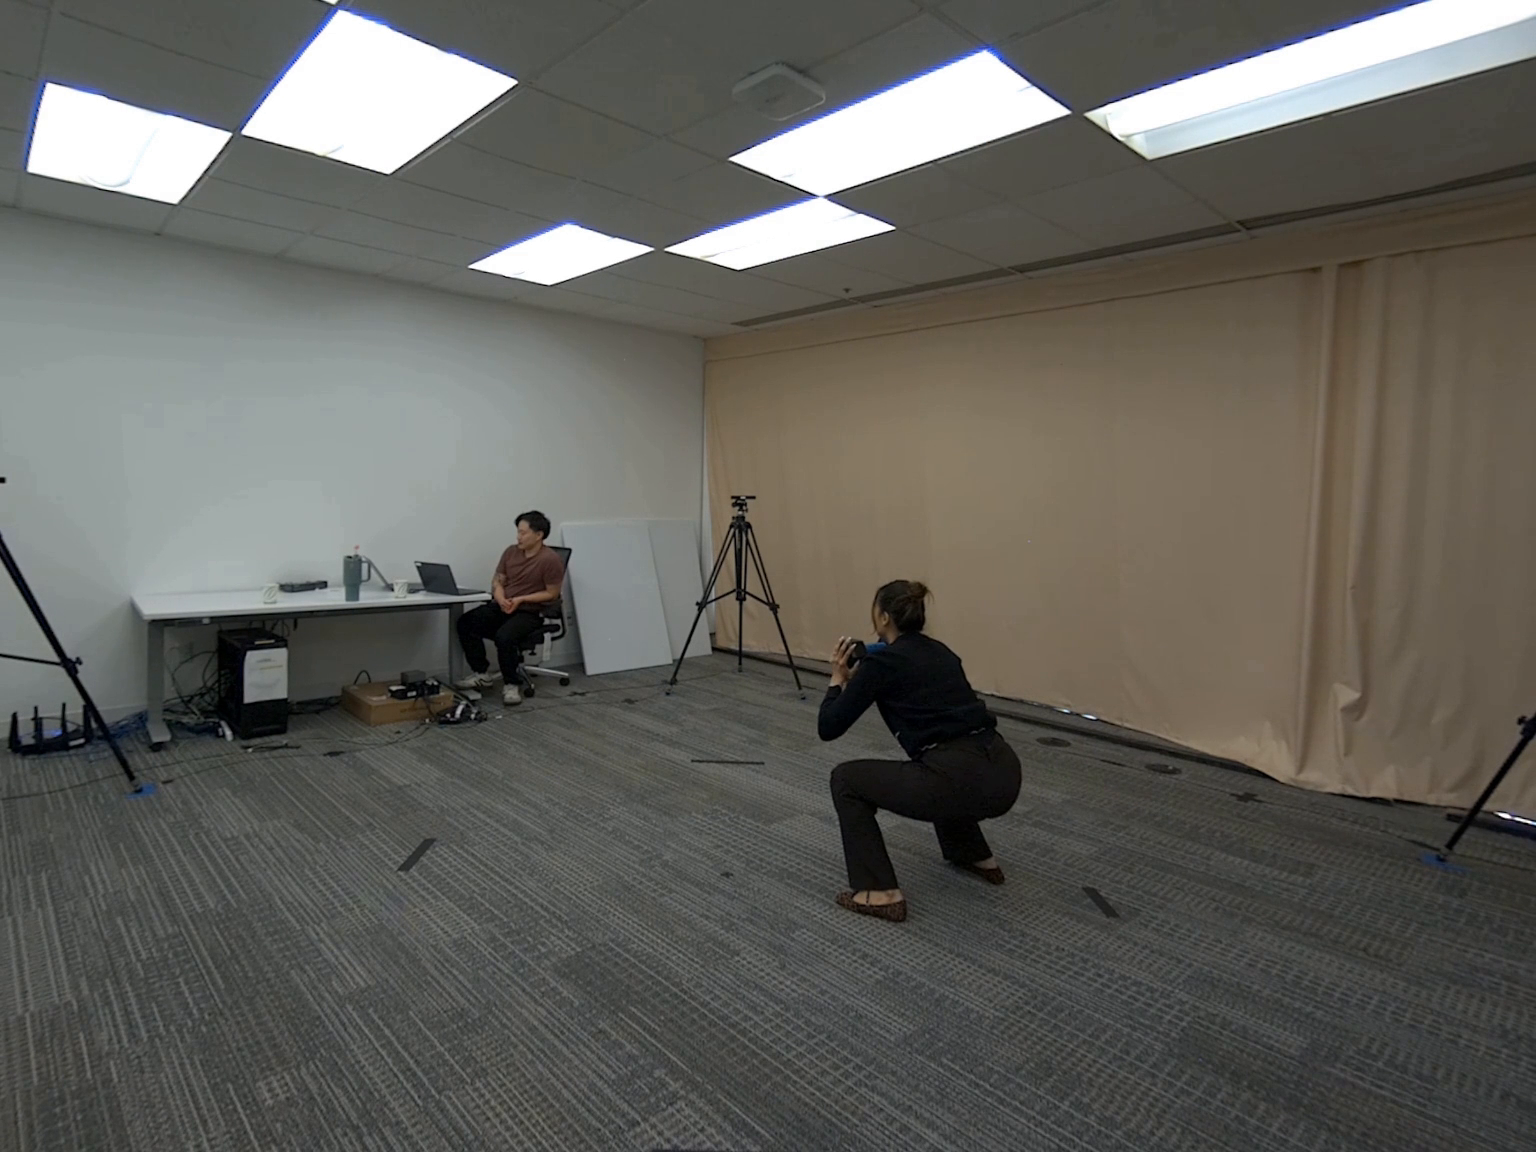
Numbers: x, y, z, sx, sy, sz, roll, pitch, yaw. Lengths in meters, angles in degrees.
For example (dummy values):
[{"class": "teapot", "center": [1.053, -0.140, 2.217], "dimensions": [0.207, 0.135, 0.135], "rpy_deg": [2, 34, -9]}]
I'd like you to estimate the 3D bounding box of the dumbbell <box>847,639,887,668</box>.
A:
[{"class": "dumbbell", "center": [0.408, 0.280, 3.248], "dimensions": [0.288, 0.121, 0.112], "rpy_deg": [-5, 38, -32]}]
